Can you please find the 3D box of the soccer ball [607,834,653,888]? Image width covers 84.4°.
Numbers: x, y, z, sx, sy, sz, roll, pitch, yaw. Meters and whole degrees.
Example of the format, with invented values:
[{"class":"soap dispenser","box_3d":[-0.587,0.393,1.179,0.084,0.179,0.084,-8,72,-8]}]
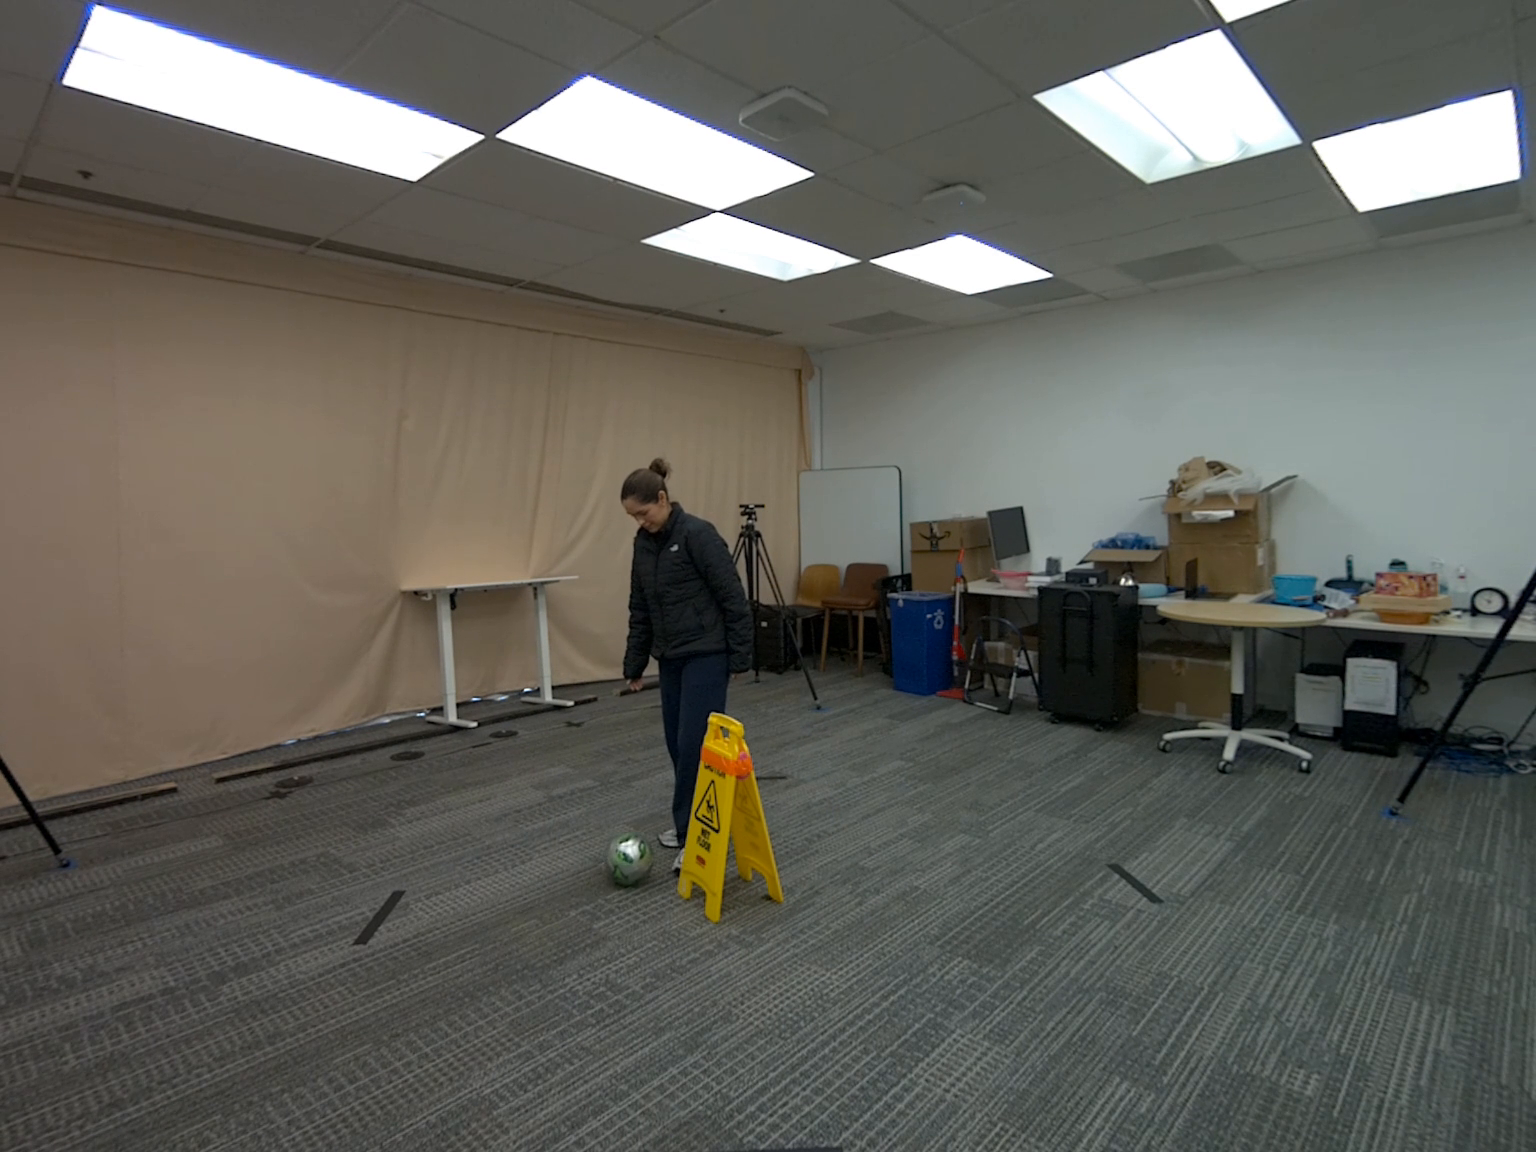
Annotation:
[{"class":"soccer ball","box_3d":[-0.510,1.051,3.126,0.187,0.187,0.188,-1,4,-2]}]
